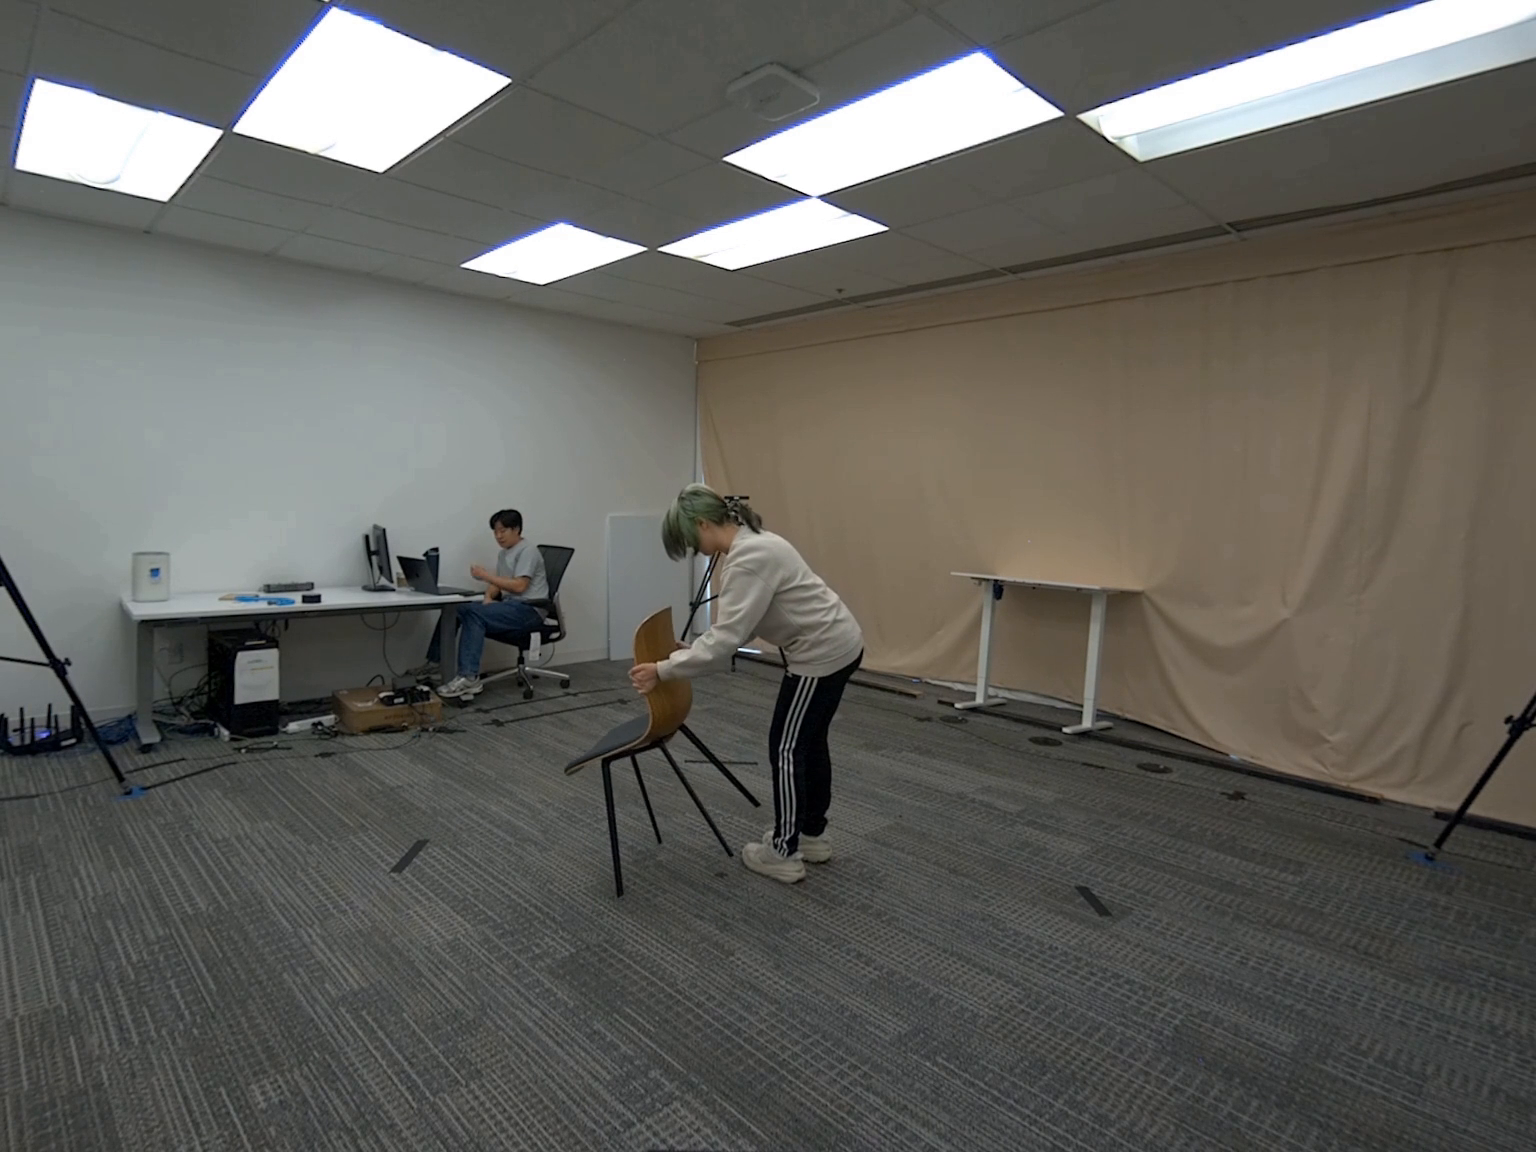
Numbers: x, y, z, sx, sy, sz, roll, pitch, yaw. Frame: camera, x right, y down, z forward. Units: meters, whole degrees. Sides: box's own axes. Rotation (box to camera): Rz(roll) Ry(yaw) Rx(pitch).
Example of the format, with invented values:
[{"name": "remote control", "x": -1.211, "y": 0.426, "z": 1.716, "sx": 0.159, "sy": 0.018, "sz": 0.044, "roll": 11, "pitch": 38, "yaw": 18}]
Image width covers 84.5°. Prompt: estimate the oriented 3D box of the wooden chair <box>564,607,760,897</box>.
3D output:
[{"name": "wooden chair", "x": -0.459, "y": 0.612, "z": 3.072, "sx": 0.527, "sy": 0.877, "sz": 0.475, "roll": -20, "pitch": 1, "yaw": 14}]
